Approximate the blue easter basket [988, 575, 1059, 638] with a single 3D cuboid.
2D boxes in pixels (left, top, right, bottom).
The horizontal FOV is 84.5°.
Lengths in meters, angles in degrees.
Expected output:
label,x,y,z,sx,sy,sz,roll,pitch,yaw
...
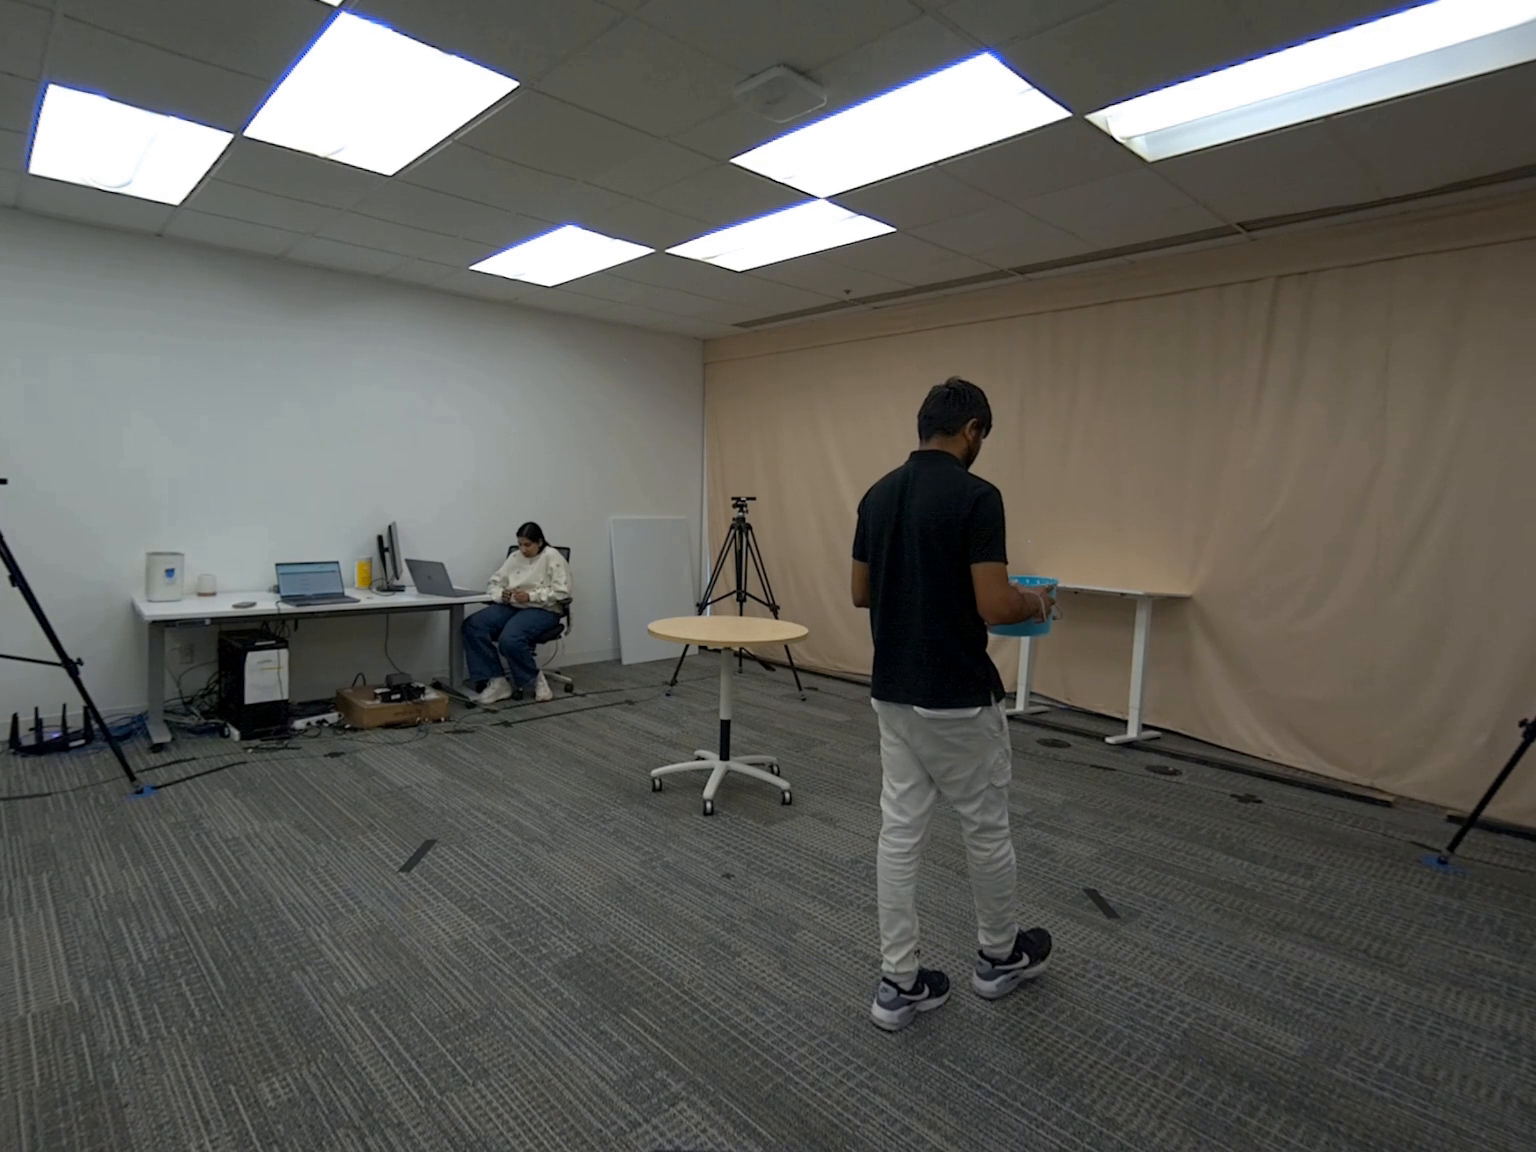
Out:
label,x,y,z,sx,sy,sz,roll,pitch,yaw
blue easter basket,0.755,0.095,2.508,0.243,0.155,0.245,-1,7,-1
